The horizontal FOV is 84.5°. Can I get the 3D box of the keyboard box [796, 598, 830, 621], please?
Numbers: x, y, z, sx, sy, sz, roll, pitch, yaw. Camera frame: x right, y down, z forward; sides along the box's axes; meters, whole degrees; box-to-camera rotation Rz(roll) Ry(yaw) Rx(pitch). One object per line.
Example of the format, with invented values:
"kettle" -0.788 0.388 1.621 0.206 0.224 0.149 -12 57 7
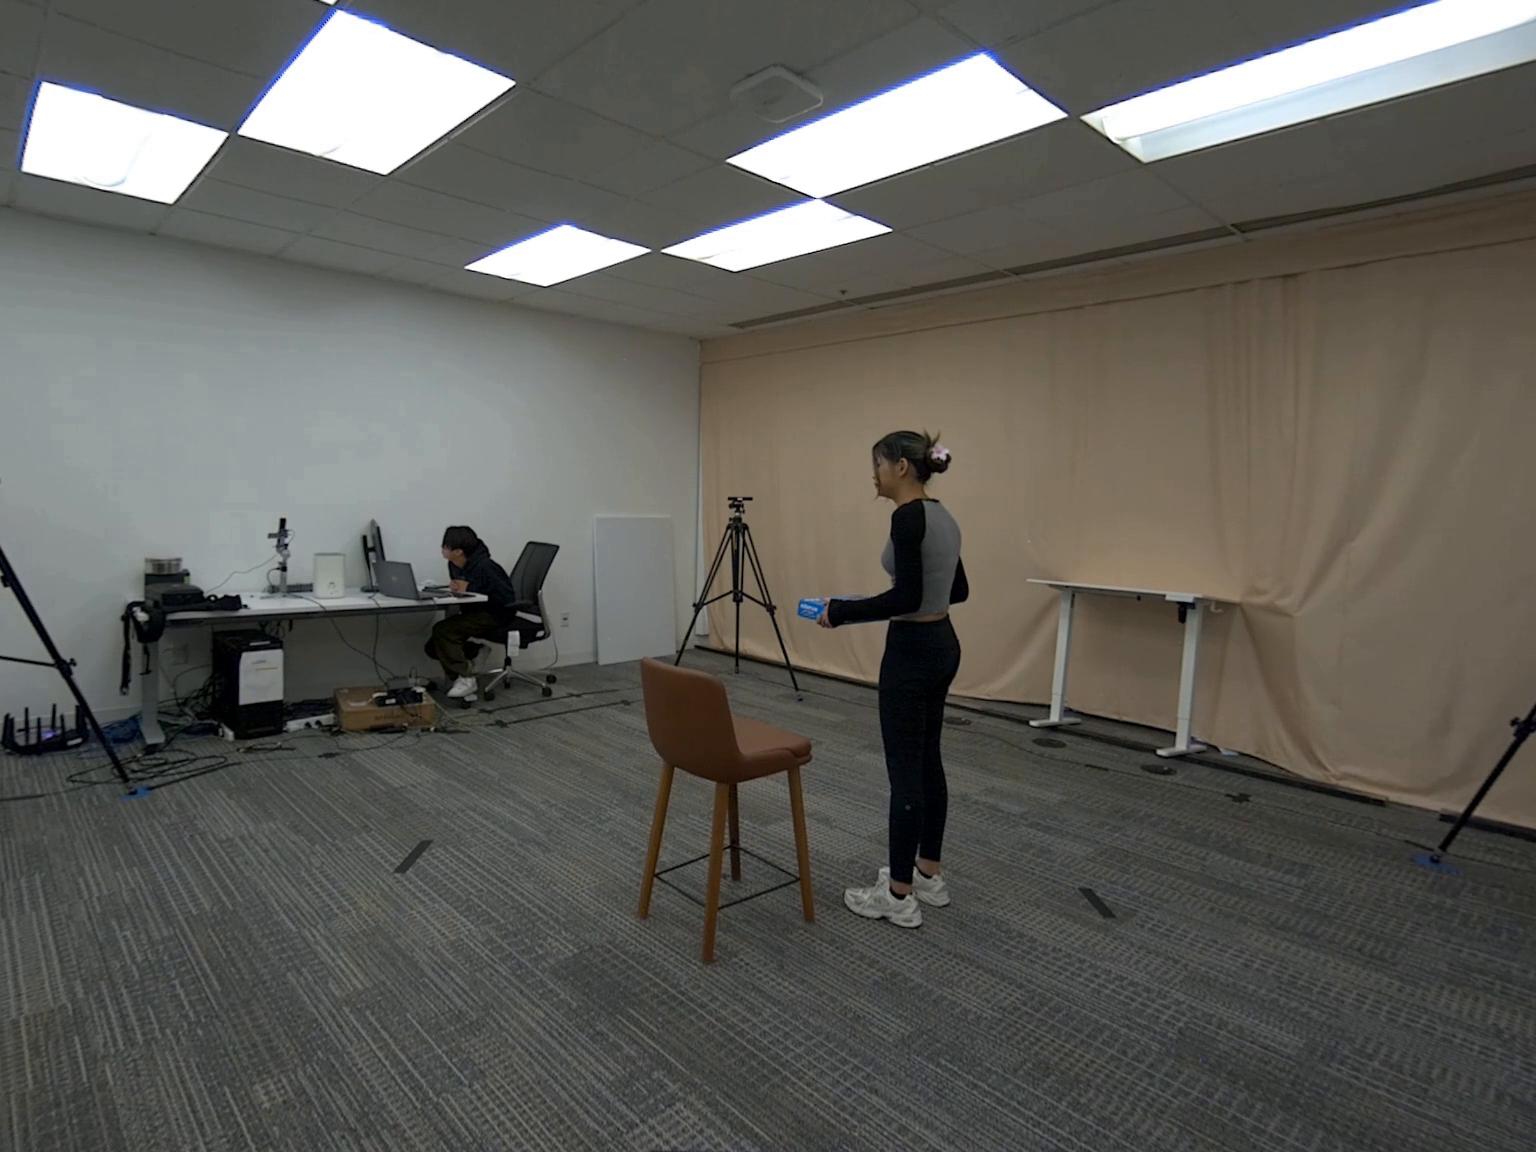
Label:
"keyboard box" 0.308 0.130 3.087 0.181 0.059 0.427 15 10 38
